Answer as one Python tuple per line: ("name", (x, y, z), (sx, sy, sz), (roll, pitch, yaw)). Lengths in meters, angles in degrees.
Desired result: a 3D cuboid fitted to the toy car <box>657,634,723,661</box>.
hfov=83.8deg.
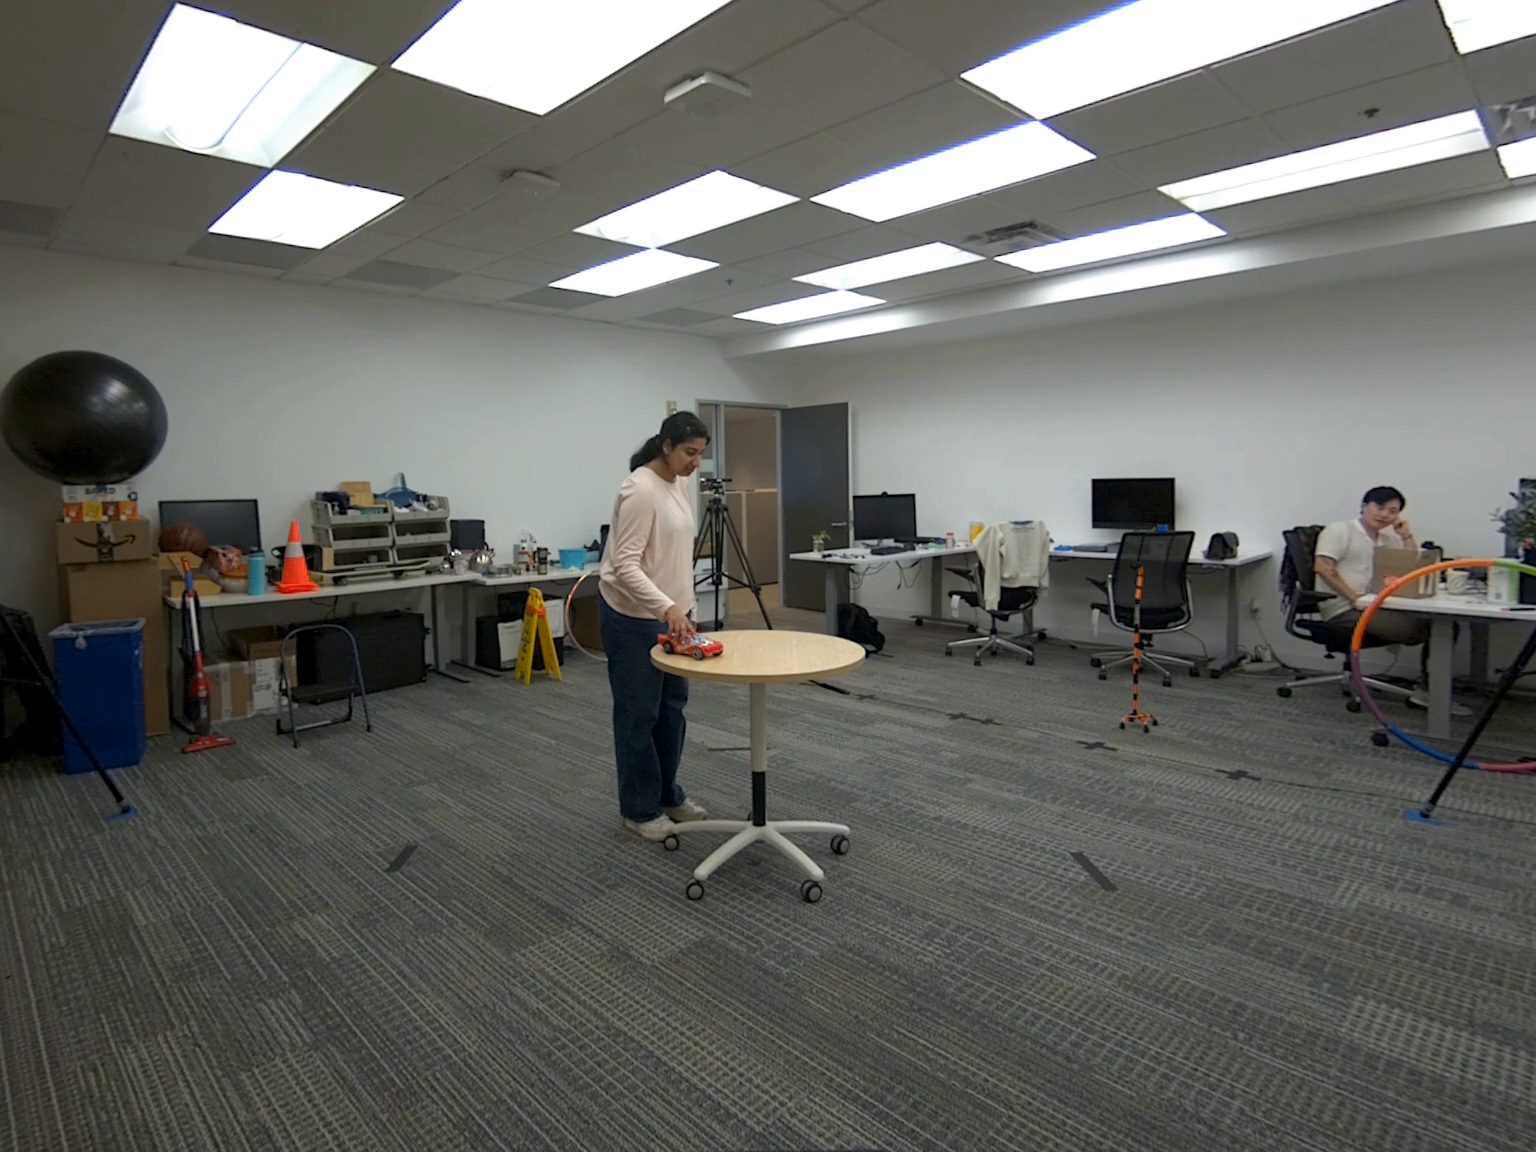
("toy car", (-0.276, 0.243, 3.007), (0.264, 0.082, 0.127), (19, 16, 39))
